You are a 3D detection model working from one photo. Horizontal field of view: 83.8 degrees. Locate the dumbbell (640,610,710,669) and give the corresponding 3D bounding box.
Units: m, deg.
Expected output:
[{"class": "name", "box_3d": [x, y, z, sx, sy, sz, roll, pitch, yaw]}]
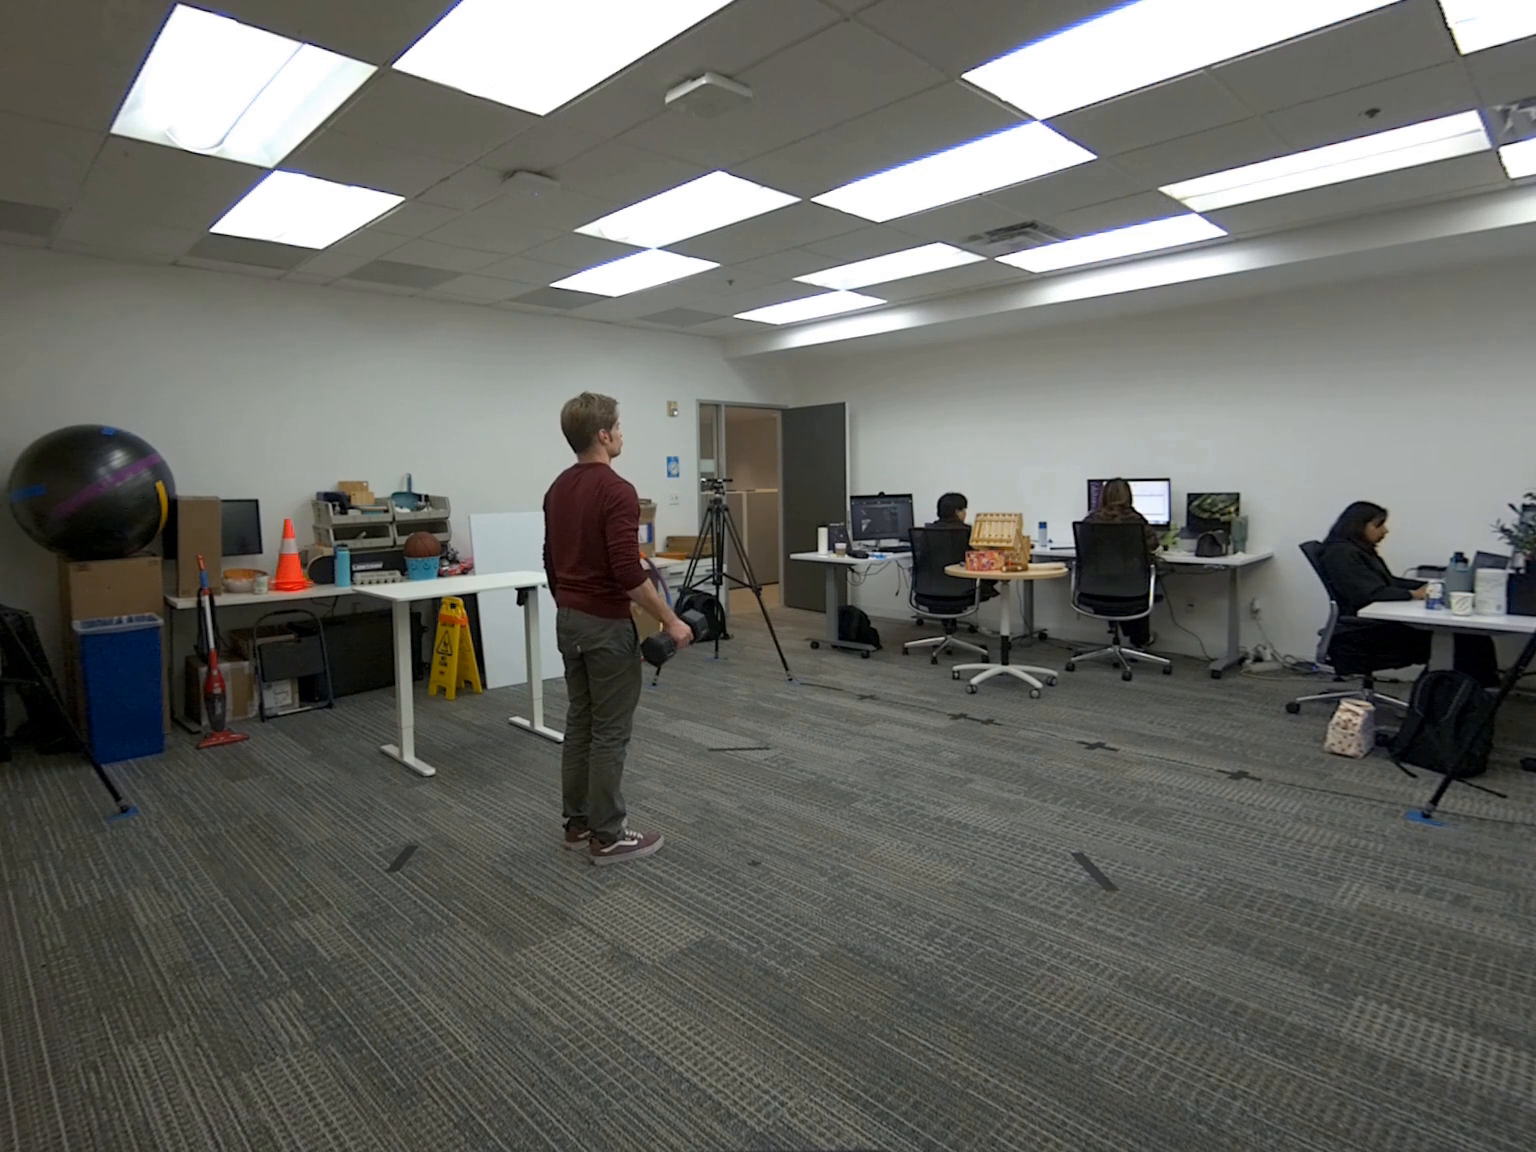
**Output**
[{"class": "dumbbell", "box_3d": [-0.350, 0.217, 3.151, 0.111, 0.121, 0.290, -7, 15, 35]}]
